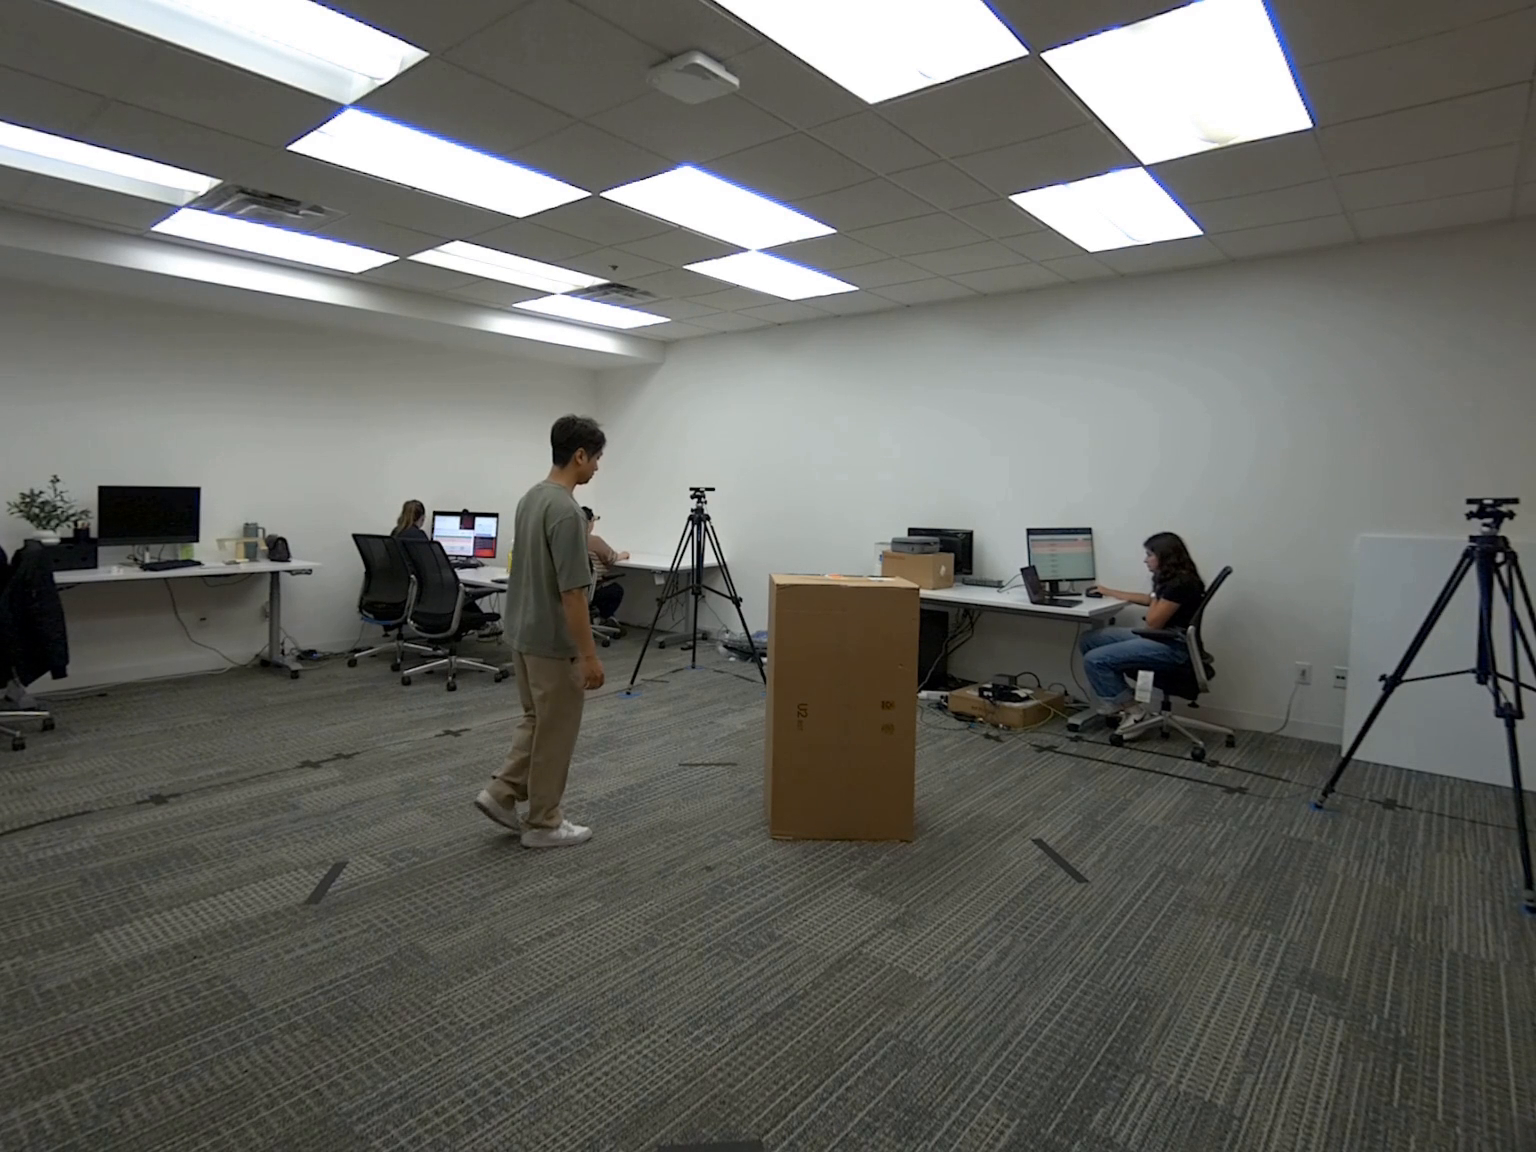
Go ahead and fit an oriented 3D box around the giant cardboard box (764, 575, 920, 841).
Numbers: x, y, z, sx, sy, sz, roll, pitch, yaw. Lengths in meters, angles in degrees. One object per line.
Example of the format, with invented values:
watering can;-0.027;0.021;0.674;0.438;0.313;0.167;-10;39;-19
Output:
giant cardboard box;0.288;0.523;3.576;0.577;1.022;0.428;1;4;-1
